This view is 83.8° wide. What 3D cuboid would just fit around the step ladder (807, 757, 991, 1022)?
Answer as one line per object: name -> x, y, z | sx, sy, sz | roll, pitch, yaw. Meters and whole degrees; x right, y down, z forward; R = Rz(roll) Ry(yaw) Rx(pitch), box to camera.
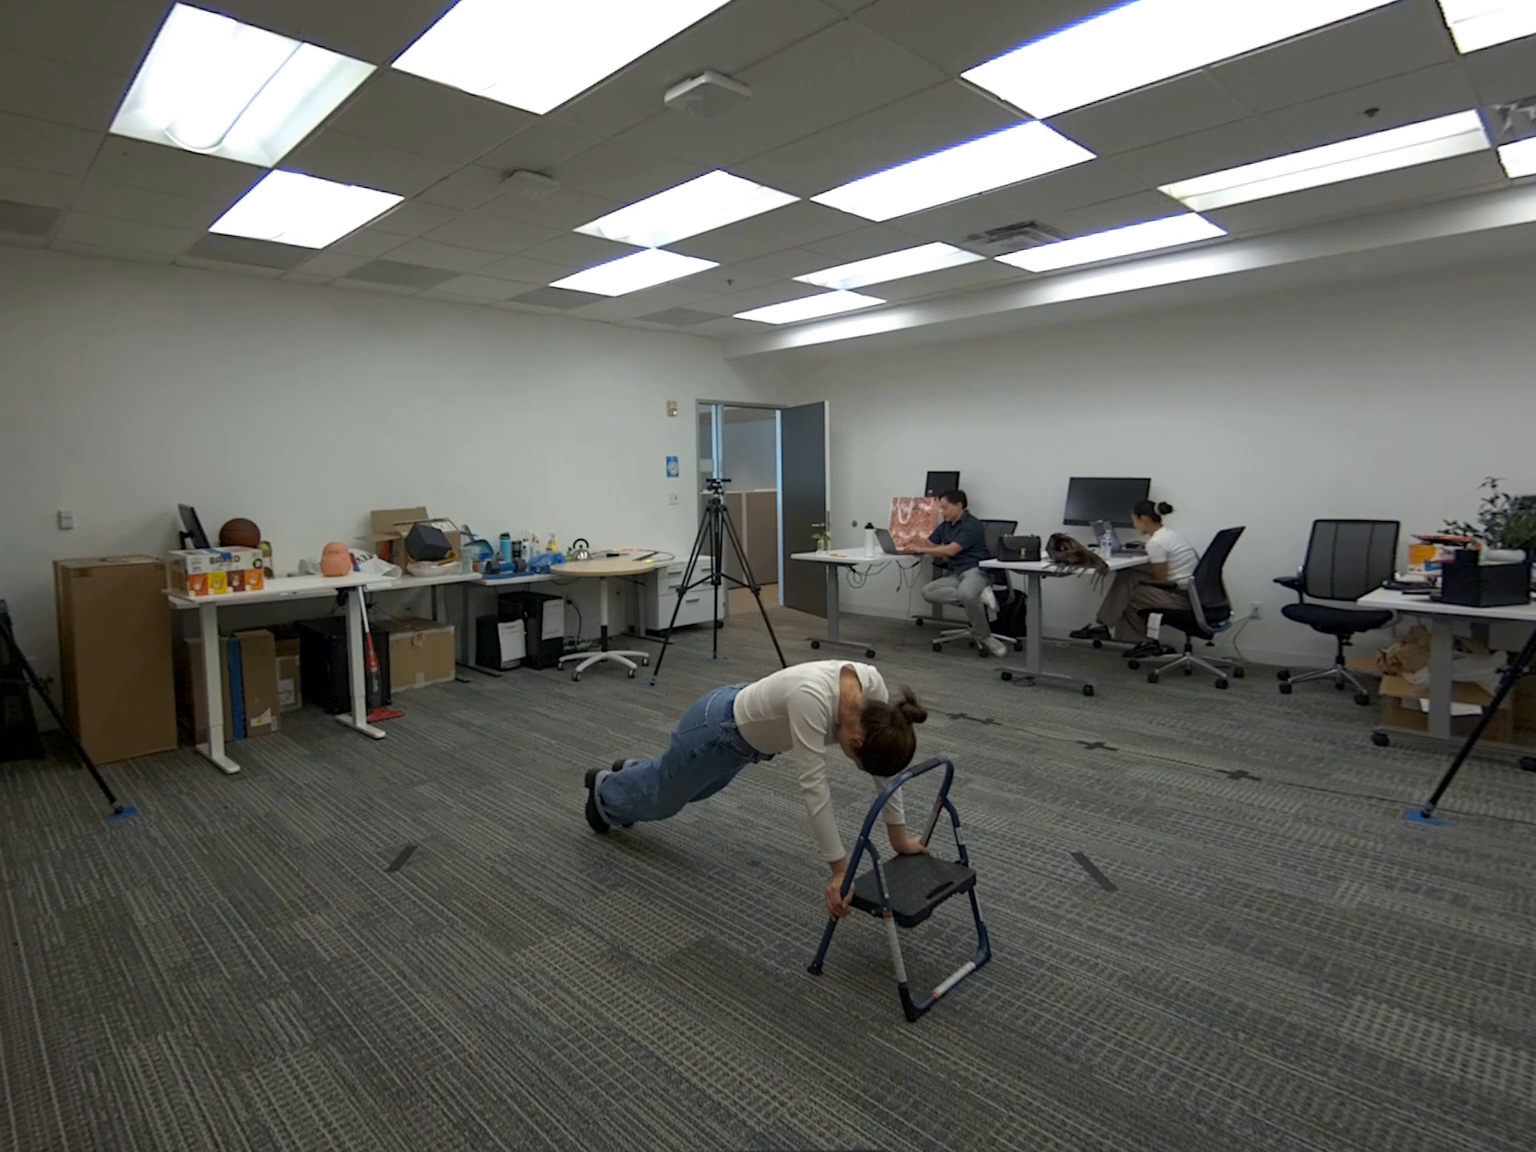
step ladder -> 0.383, 0.817, 2.424 | 0.360, 0.604, 0.419 | 3, 6, 43
